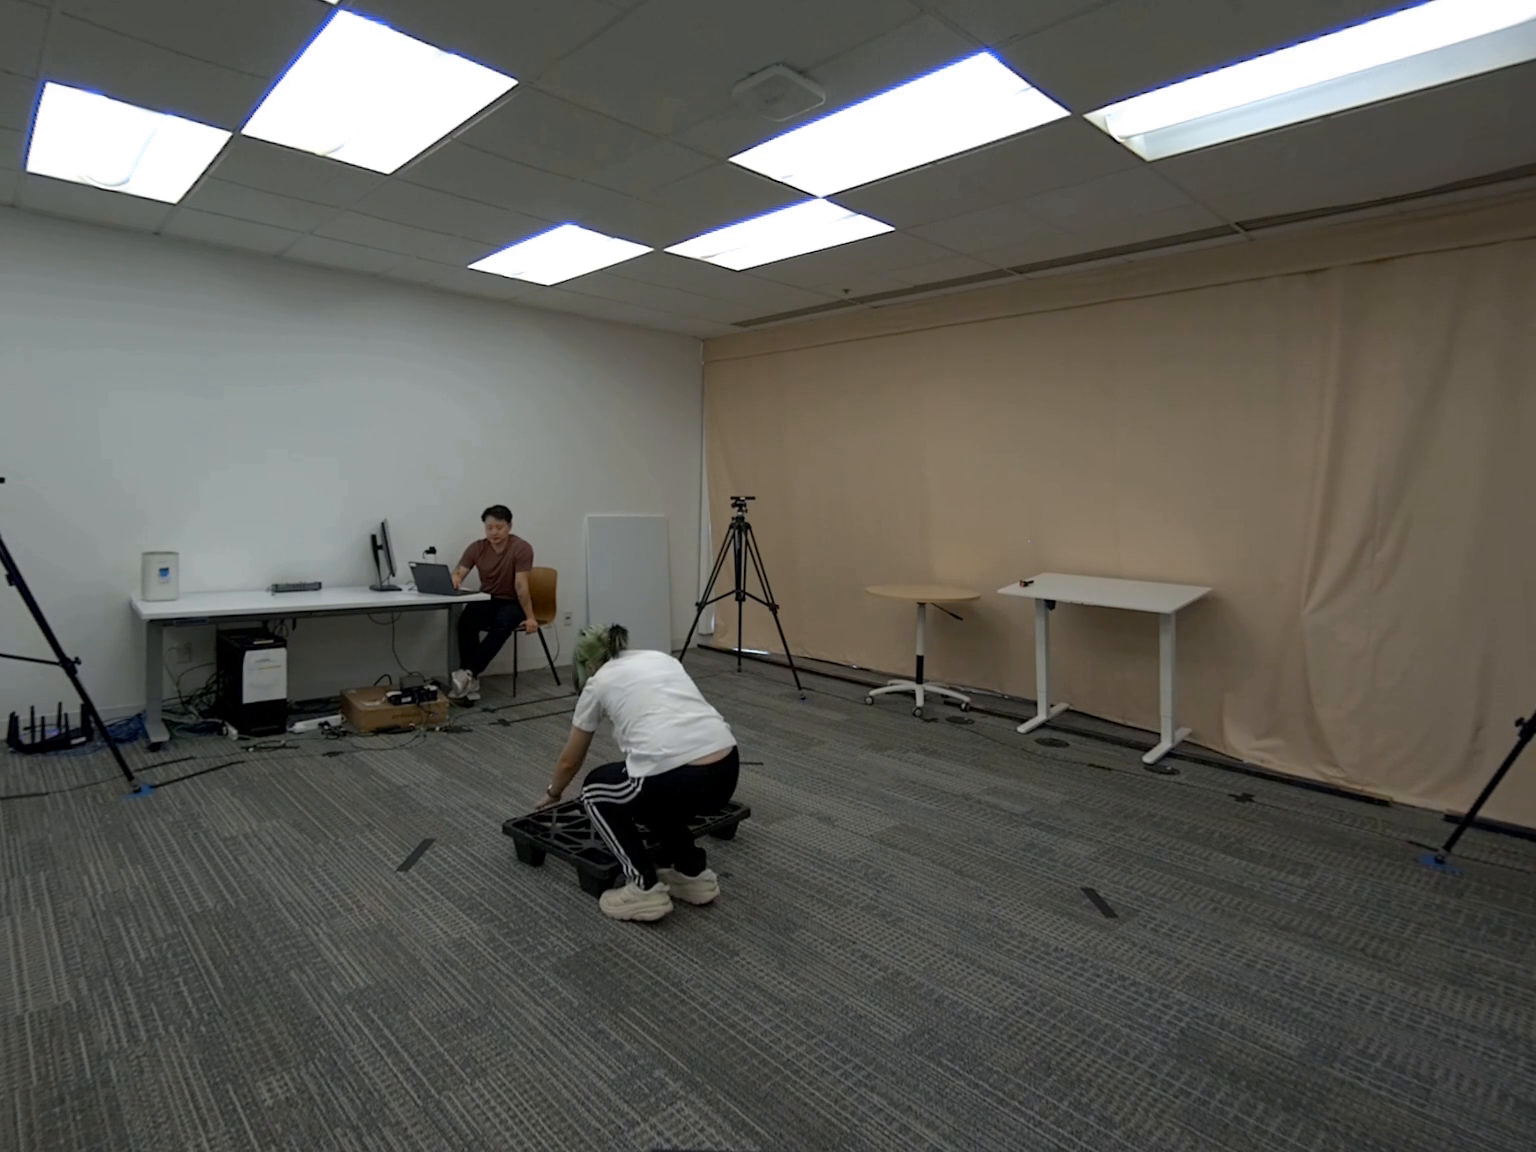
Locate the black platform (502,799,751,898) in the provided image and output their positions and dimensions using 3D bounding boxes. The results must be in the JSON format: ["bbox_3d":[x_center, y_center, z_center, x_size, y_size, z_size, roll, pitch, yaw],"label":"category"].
[{"bbox_3d":[-0.546,1.009,3.320,0.620,0.143,0.788,6,7,39],"label":"black platform"}]
